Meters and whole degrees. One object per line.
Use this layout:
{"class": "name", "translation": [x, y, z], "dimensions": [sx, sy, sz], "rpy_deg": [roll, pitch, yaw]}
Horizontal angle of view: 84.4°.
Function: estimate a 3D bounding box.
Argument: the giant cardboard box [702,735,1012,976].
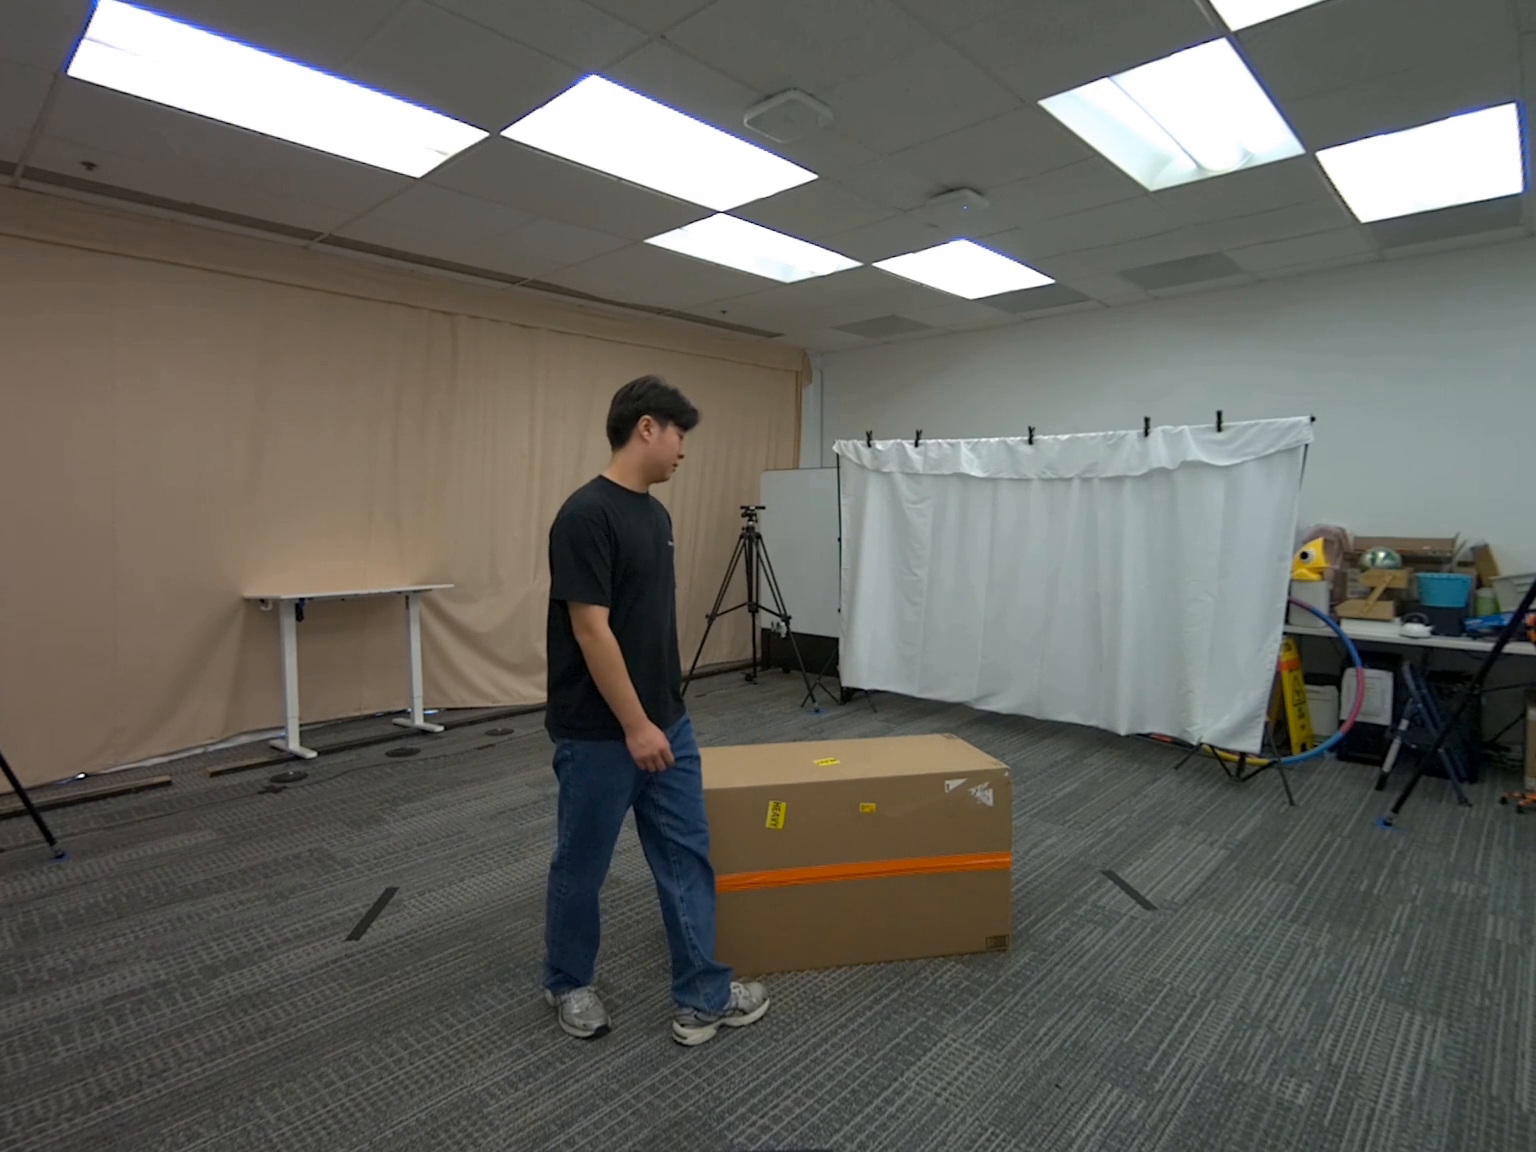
{"class": "giant cardboard box", "translation": [0.218, 0.876, 2.734], "dimensions": [1.015, 0.582, 0.453], "rpy_deg": [-1, 4, -11]}
